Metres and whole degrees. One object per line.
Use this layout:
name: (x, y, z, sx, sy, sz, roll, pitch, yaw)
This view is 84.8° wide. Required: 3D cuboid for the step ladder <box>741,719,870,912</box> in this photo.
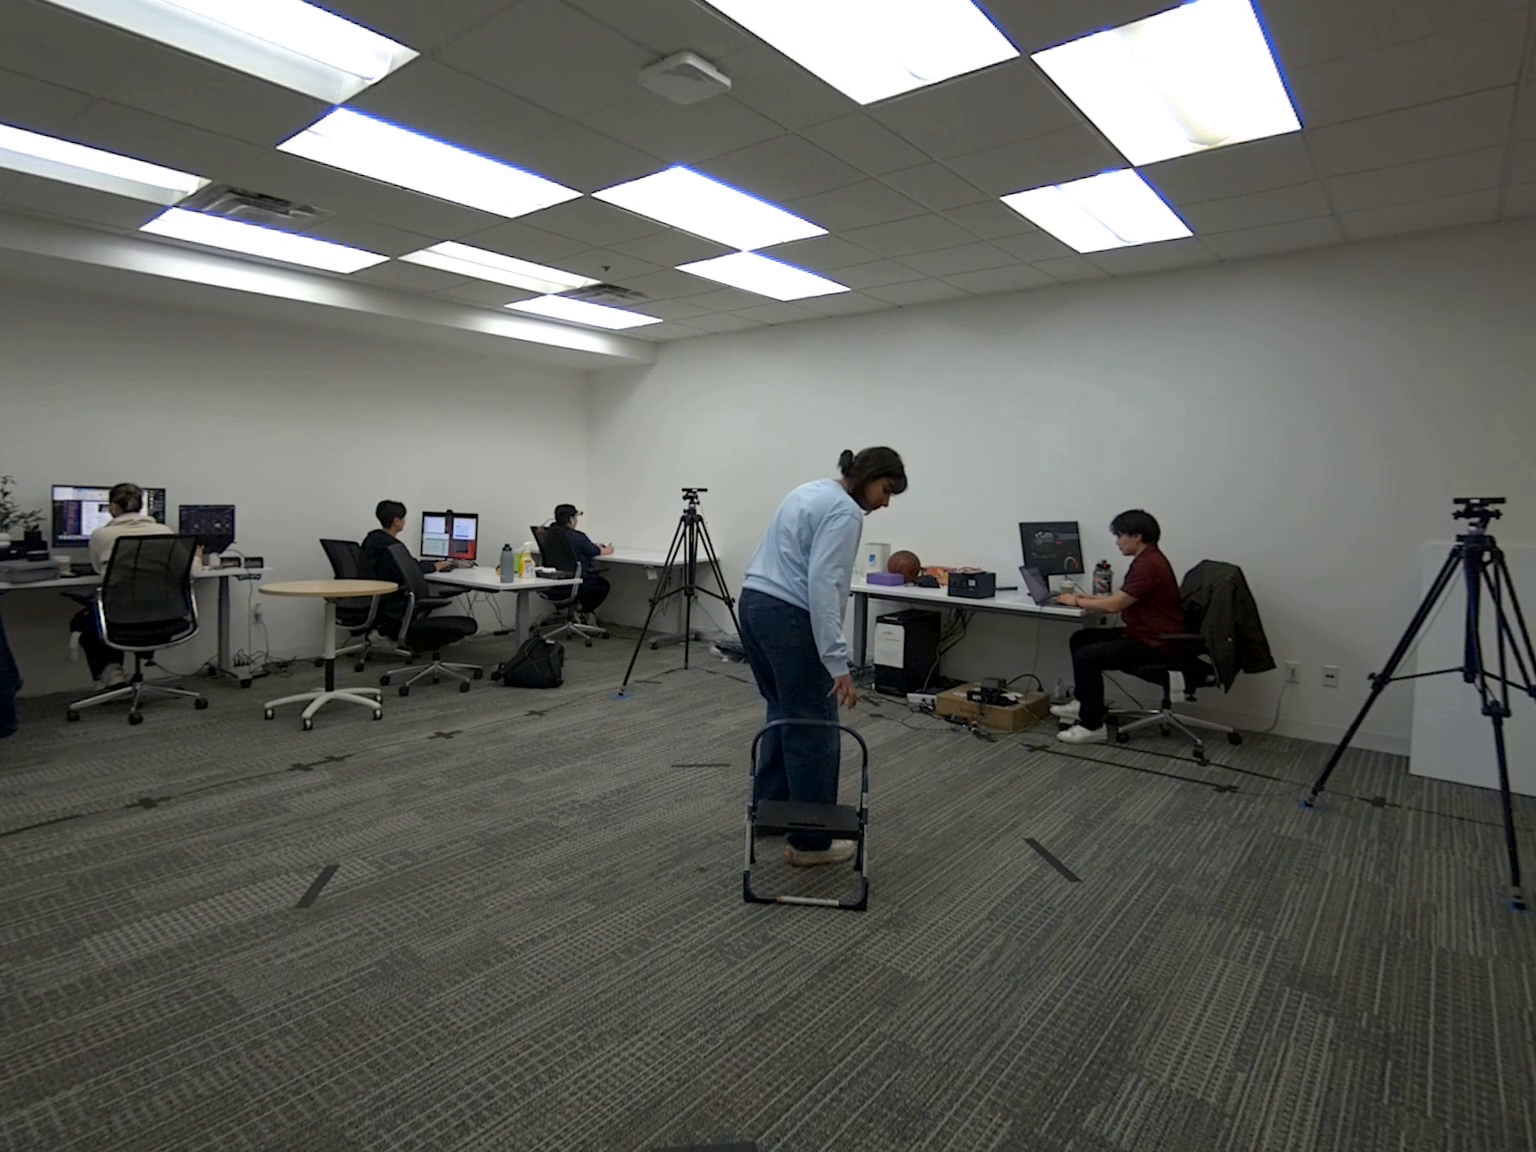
step ladder: (0.131, 0.786, 2.996, 0.433, 0.605, 0.348, 1, 2, 4)
